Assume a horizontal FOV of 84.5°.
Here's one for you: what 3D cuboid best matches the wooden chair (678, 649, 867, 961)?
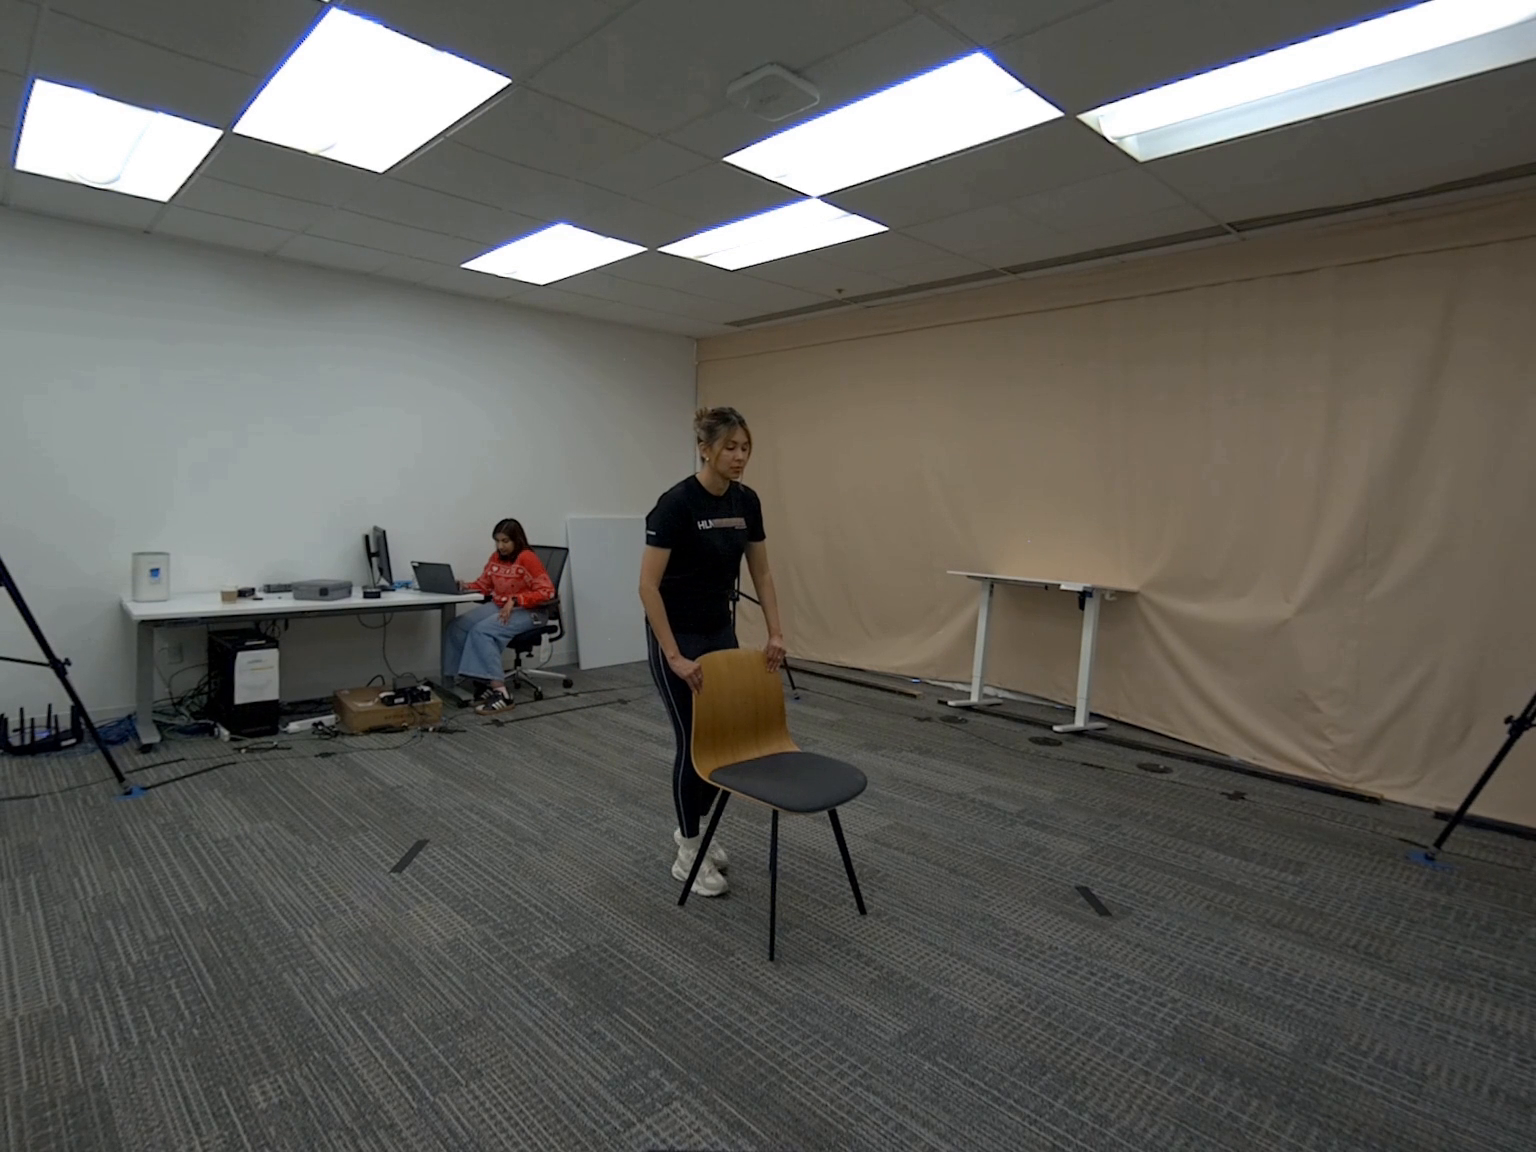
[{"bbox_3d":[0.026,0.707,2.808,0.467,0.877,0.535,-2,0,-43],"label":"wooden chair"}]
